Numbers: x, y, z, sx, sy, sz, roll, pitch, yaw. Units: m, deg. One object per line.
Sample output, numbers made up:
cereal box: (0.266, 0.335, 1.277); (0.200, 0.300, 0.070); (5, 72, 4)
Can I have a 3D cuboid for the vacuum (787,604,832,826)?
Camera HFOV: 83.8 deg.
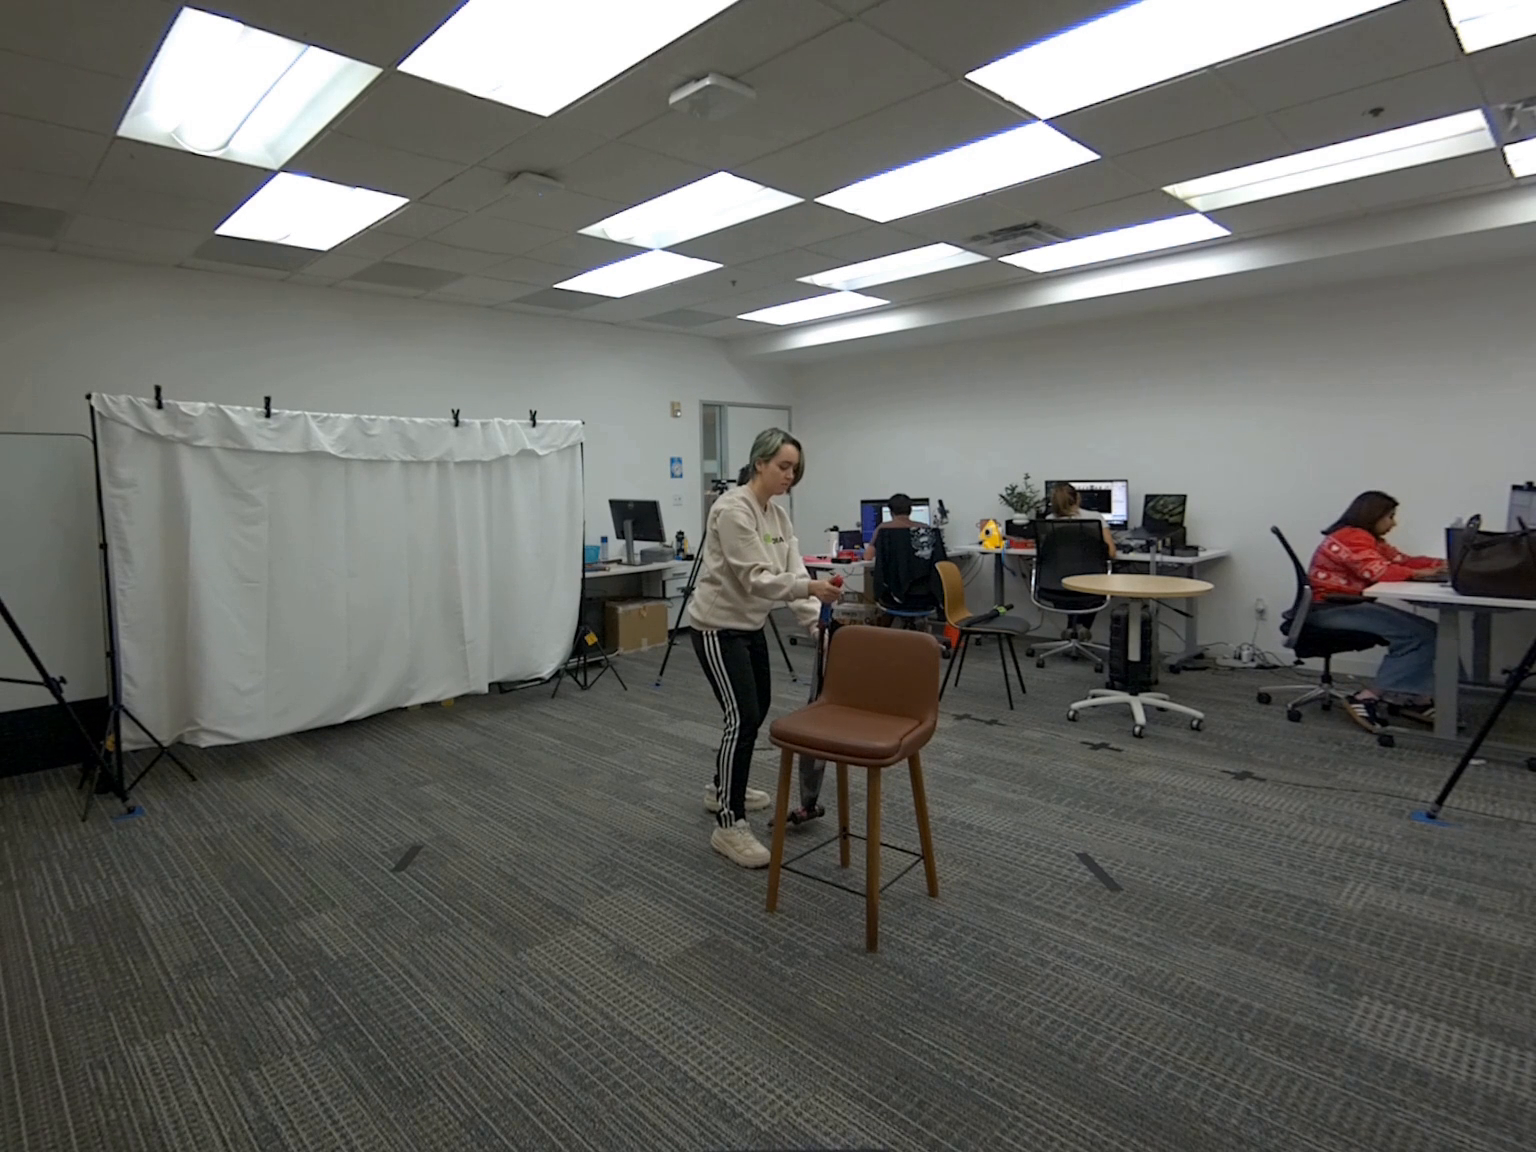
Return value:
vacuum: (0.194, 0.491, 3.207); (0.247, 1.032, 0.149); (-14, 30, -41)
